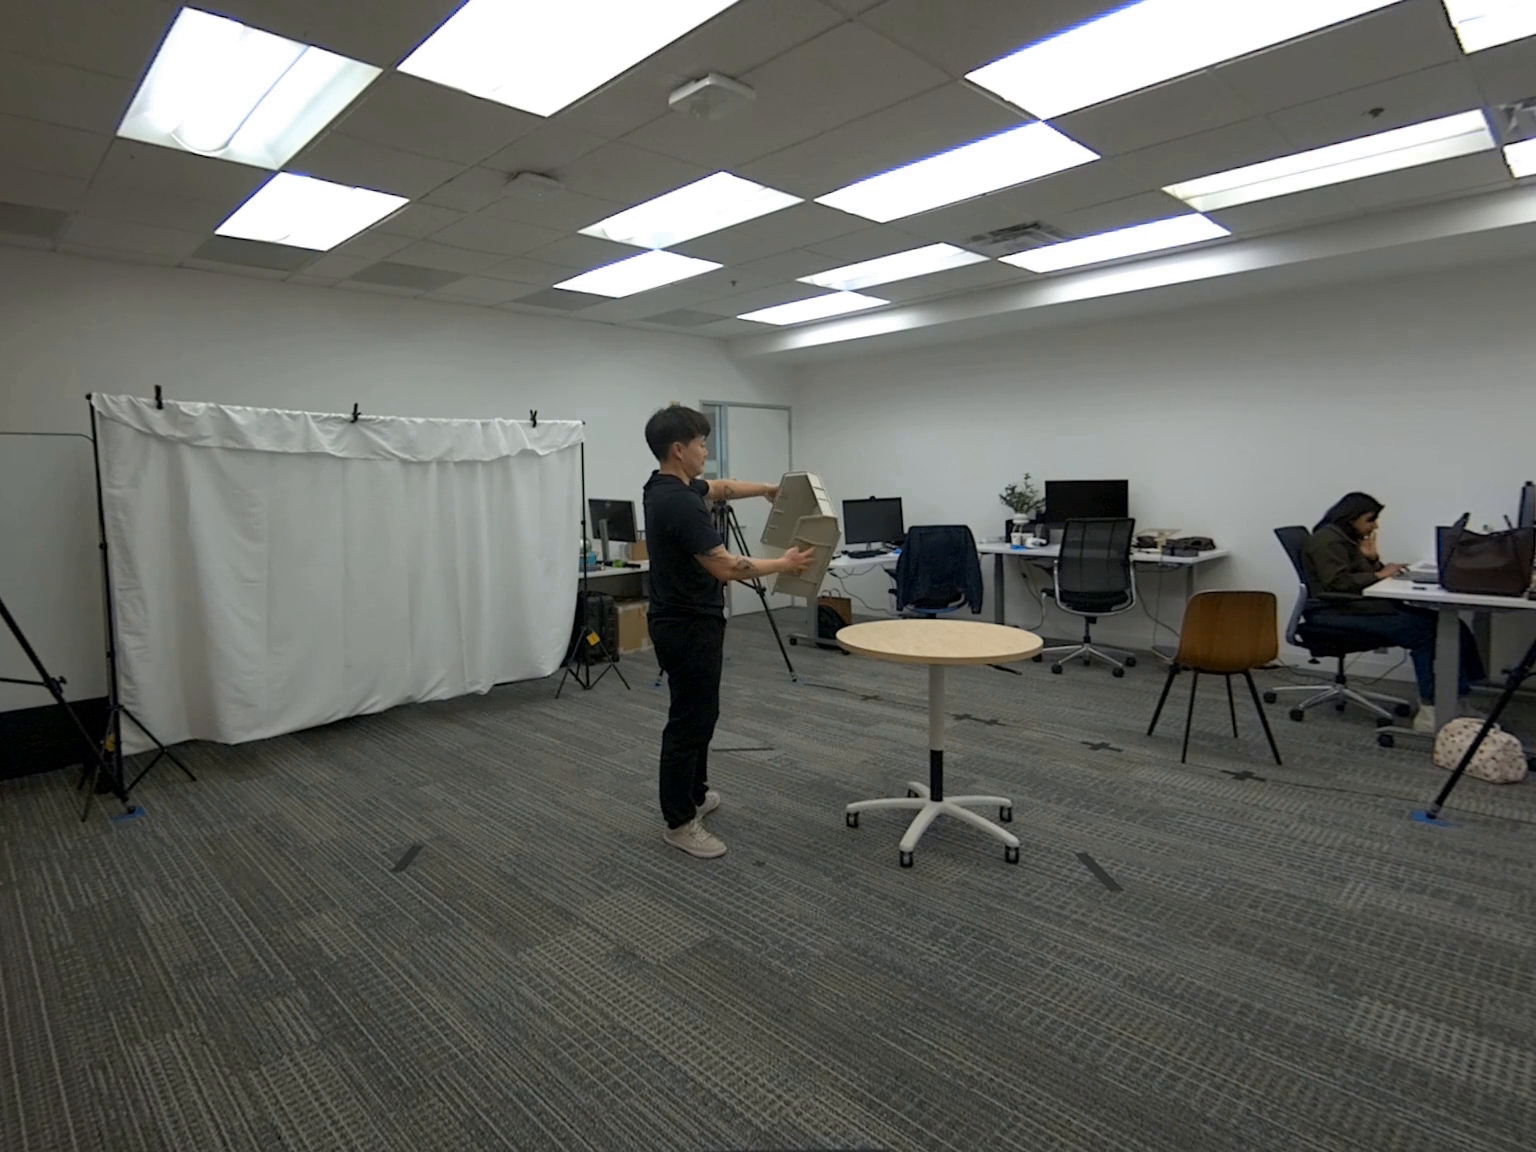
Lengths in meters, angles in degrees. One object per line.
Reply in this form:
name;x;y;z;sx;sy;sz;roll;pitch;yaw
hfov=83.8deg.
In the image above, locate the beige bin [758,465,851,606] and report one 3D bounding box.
beige bin;0.128;-0.170;3.402;0.186;0.372;0.434;11;27;-14
